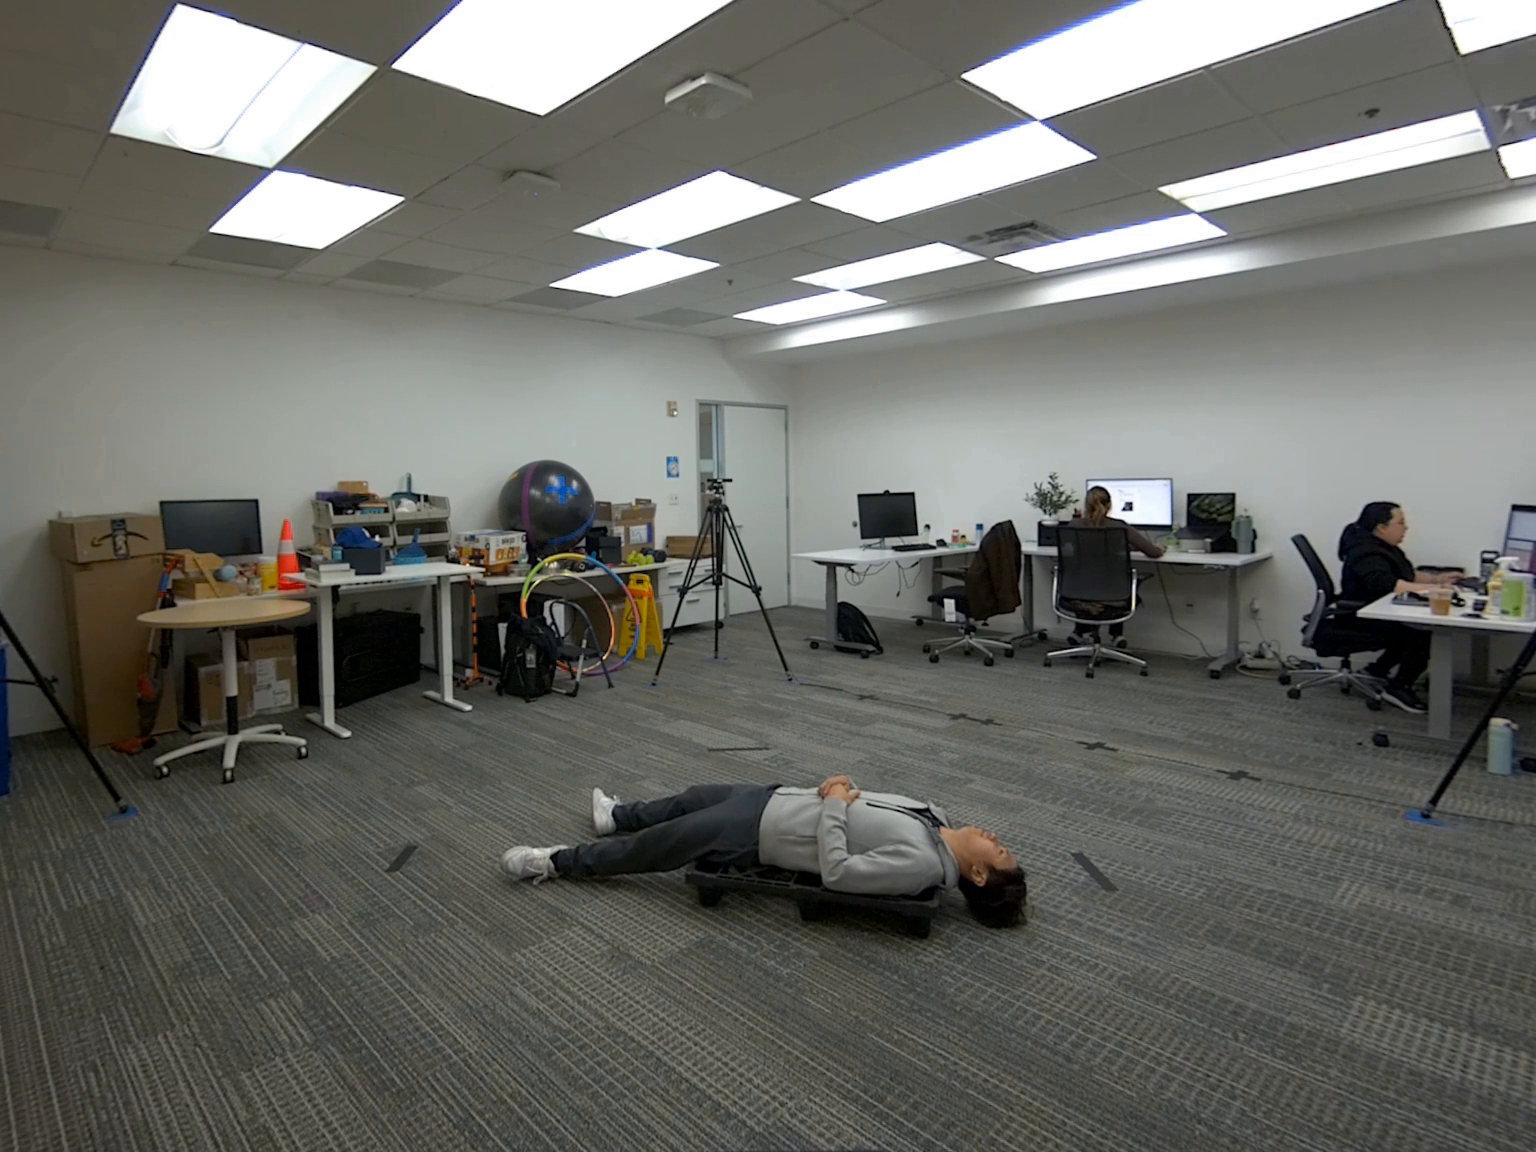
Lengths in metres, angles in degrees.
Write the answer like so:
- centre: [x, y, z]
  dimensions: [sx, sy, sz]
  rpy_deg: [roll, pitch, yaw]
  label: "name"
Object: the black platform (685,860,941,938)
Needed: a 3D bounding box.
- centre: [0.192, 0.990, 2.911]
  dimensions: [0.820, 0.142, 0.597]
  rpy_deg: [3, 7, 18]
  label: "black platform"
